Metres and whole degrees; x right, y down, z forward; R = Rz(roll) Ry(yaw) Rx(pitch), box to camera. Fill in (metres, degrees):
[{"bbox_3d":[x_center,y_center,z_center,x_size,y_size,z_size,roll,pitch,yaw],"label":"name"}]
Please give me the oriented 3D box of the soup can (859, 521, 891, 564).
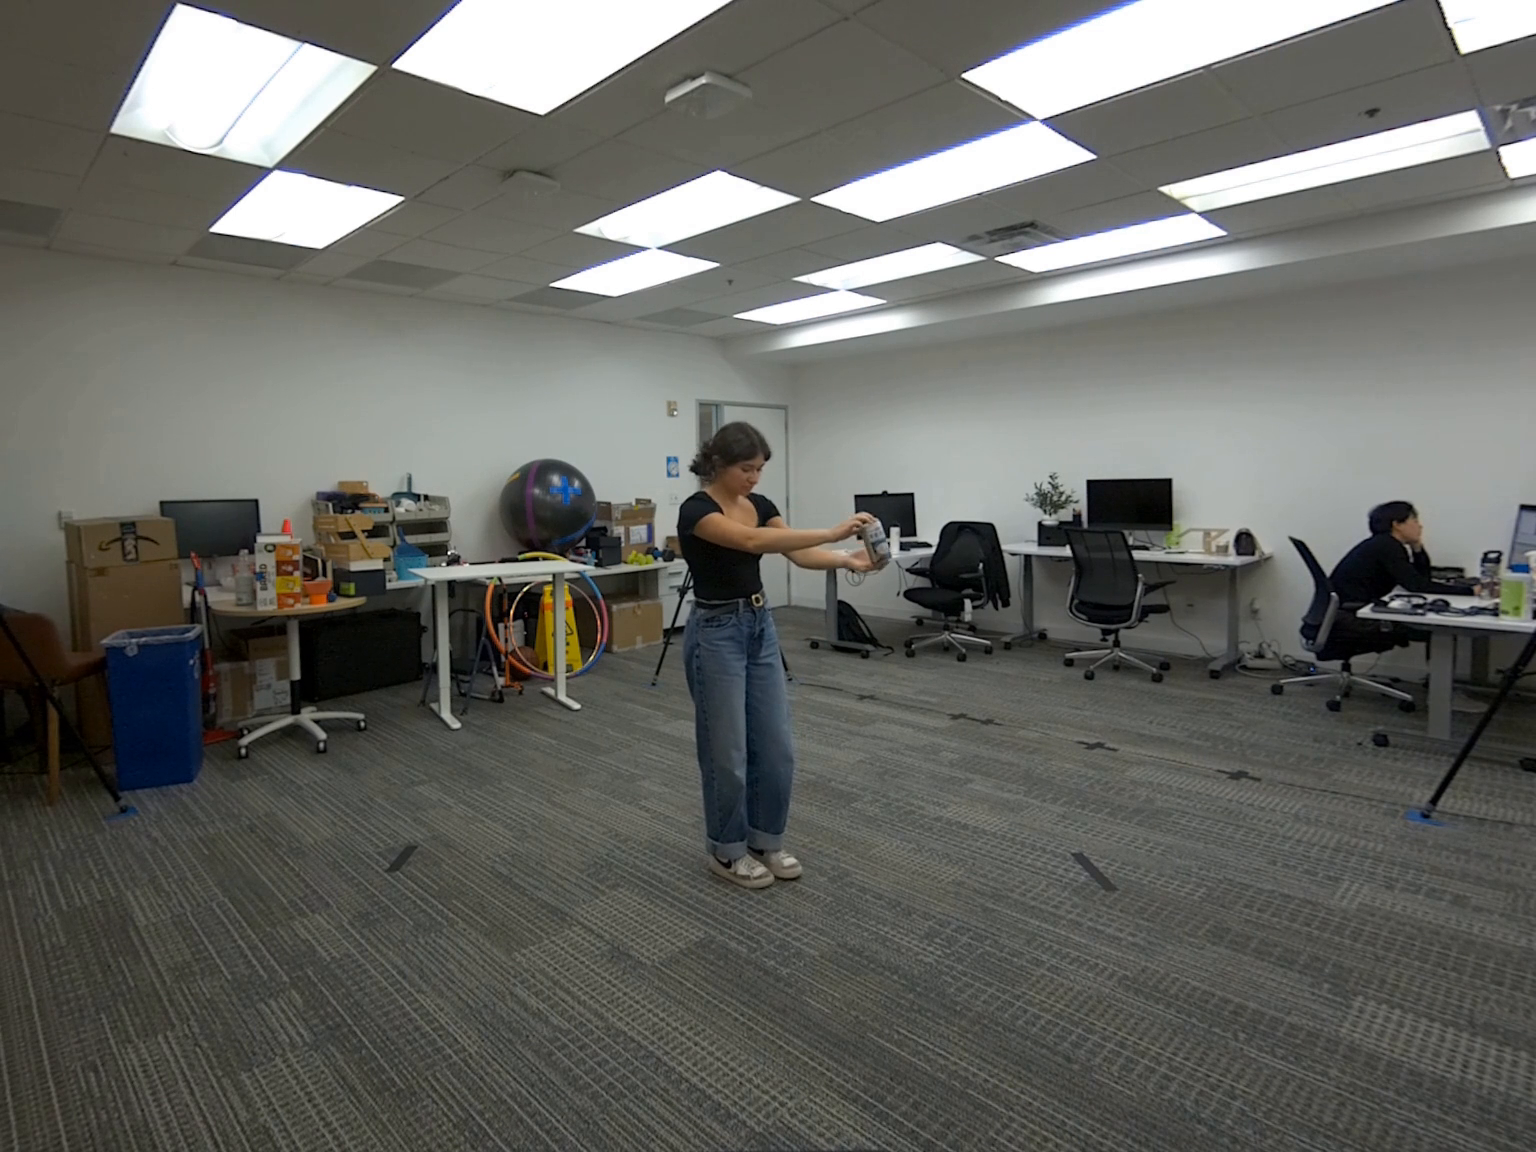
[{"bbox_3d":[0.315,-0.113,2.575,0.067,0.121,0.067,-17,4,0],"label":"soup can"}]
